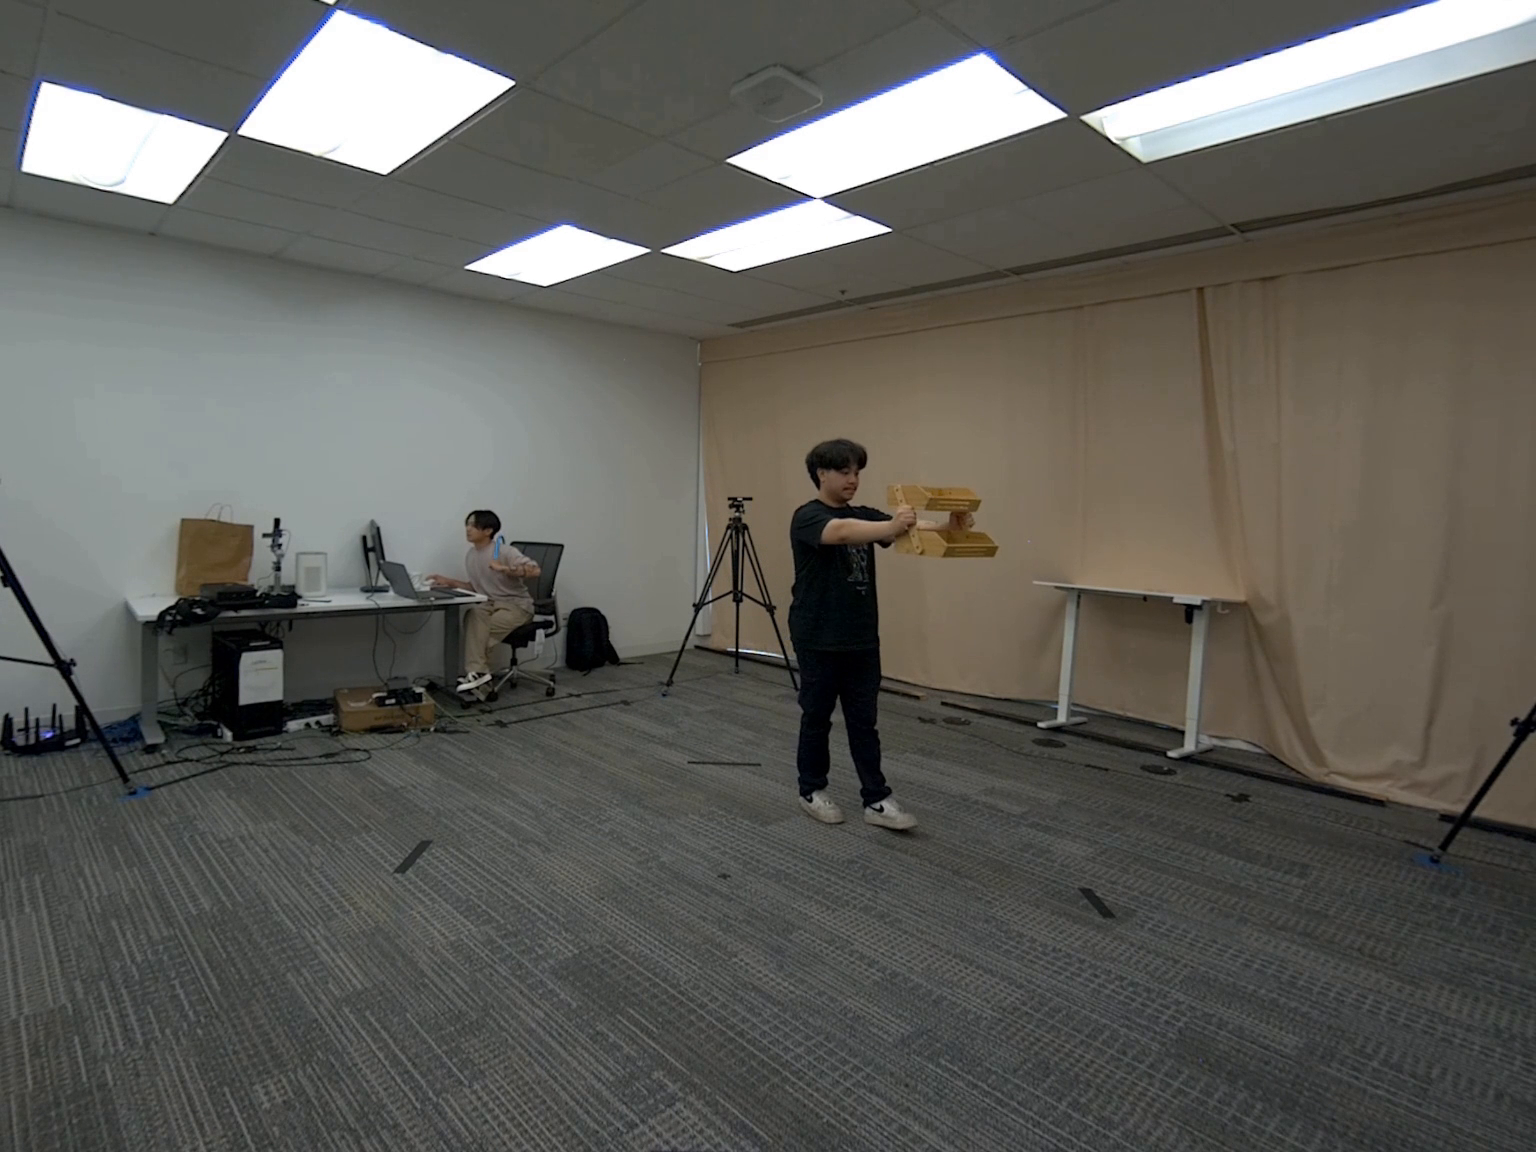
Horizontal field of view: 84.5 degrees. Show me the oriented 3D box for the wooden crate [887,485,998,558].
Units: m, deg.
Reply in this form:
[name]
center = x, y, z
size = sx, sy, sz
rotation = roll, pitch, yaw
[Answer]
[wooden crate]
center = 0.670, -0.214, 3.200
size = 0.317, 0.272, 0.310
rotation = -1, 5, -39
